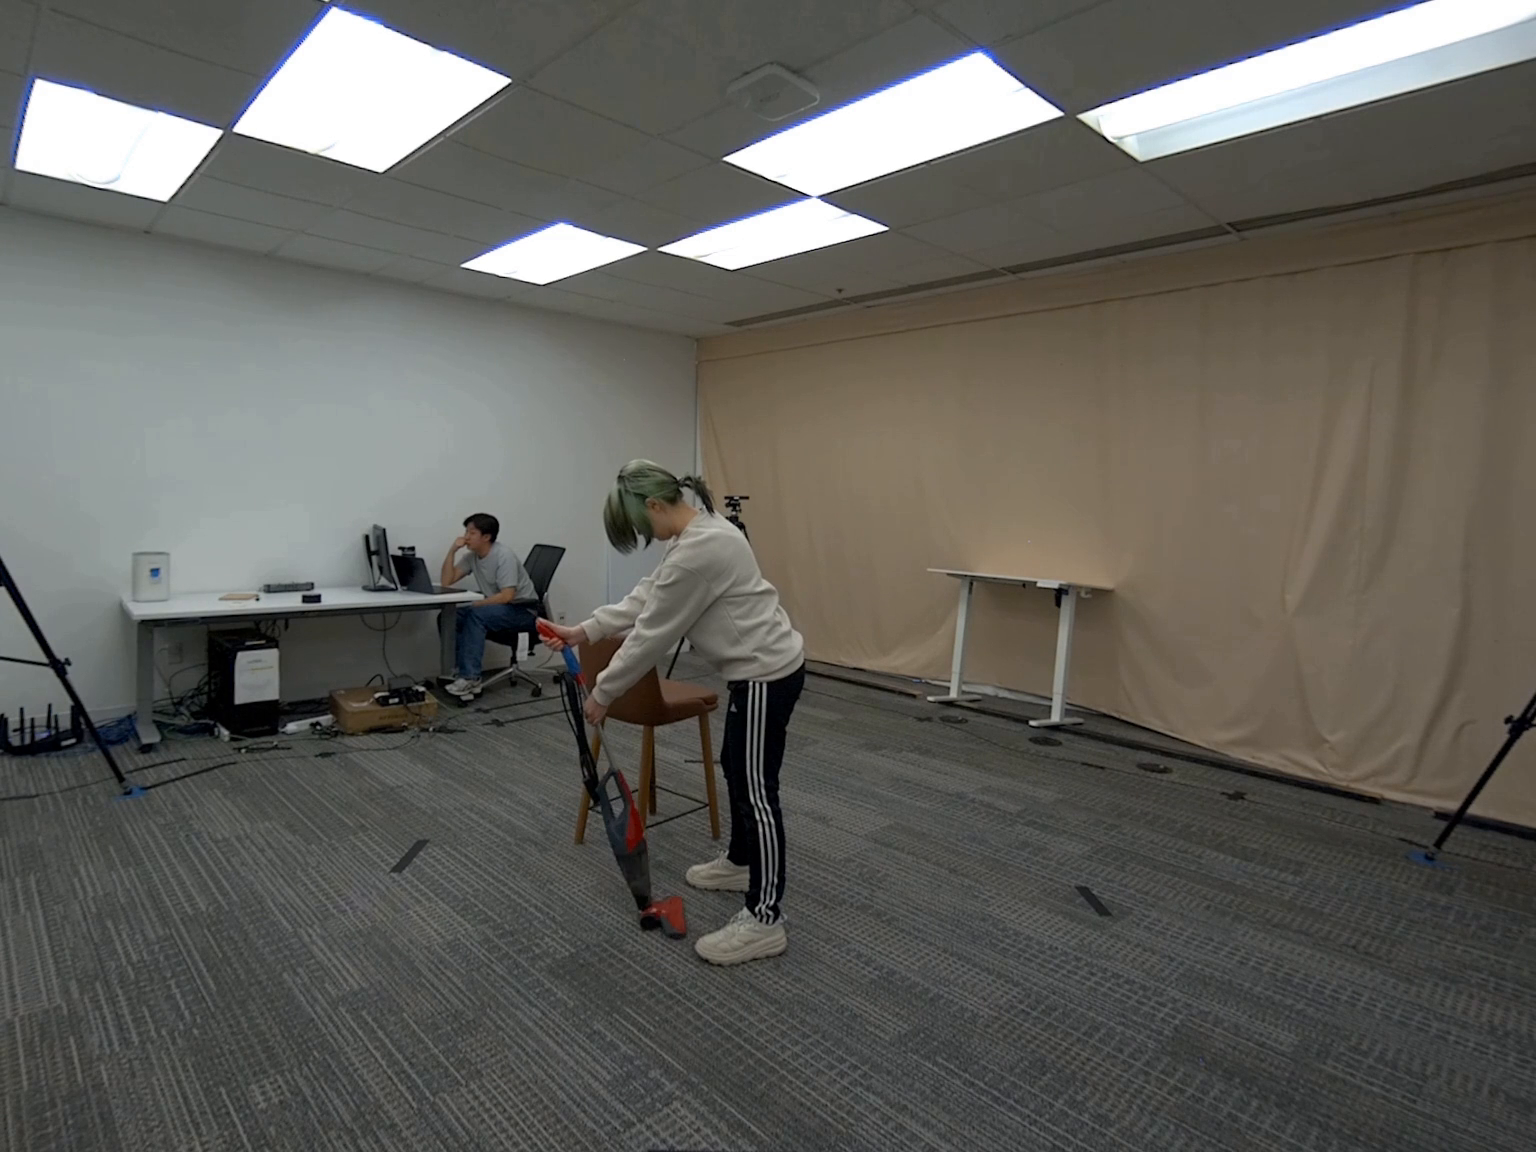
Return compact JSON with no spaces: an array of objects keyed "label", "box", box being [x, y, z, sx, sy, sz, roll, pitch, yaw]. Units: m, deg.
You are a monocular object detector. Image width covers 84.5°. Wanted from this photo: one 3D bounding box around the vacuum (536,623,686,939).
[{"label":"vacuum","box":[-0.552,0.656,2.719,0.143,1.044,0.255,-25,5,-11]}]
